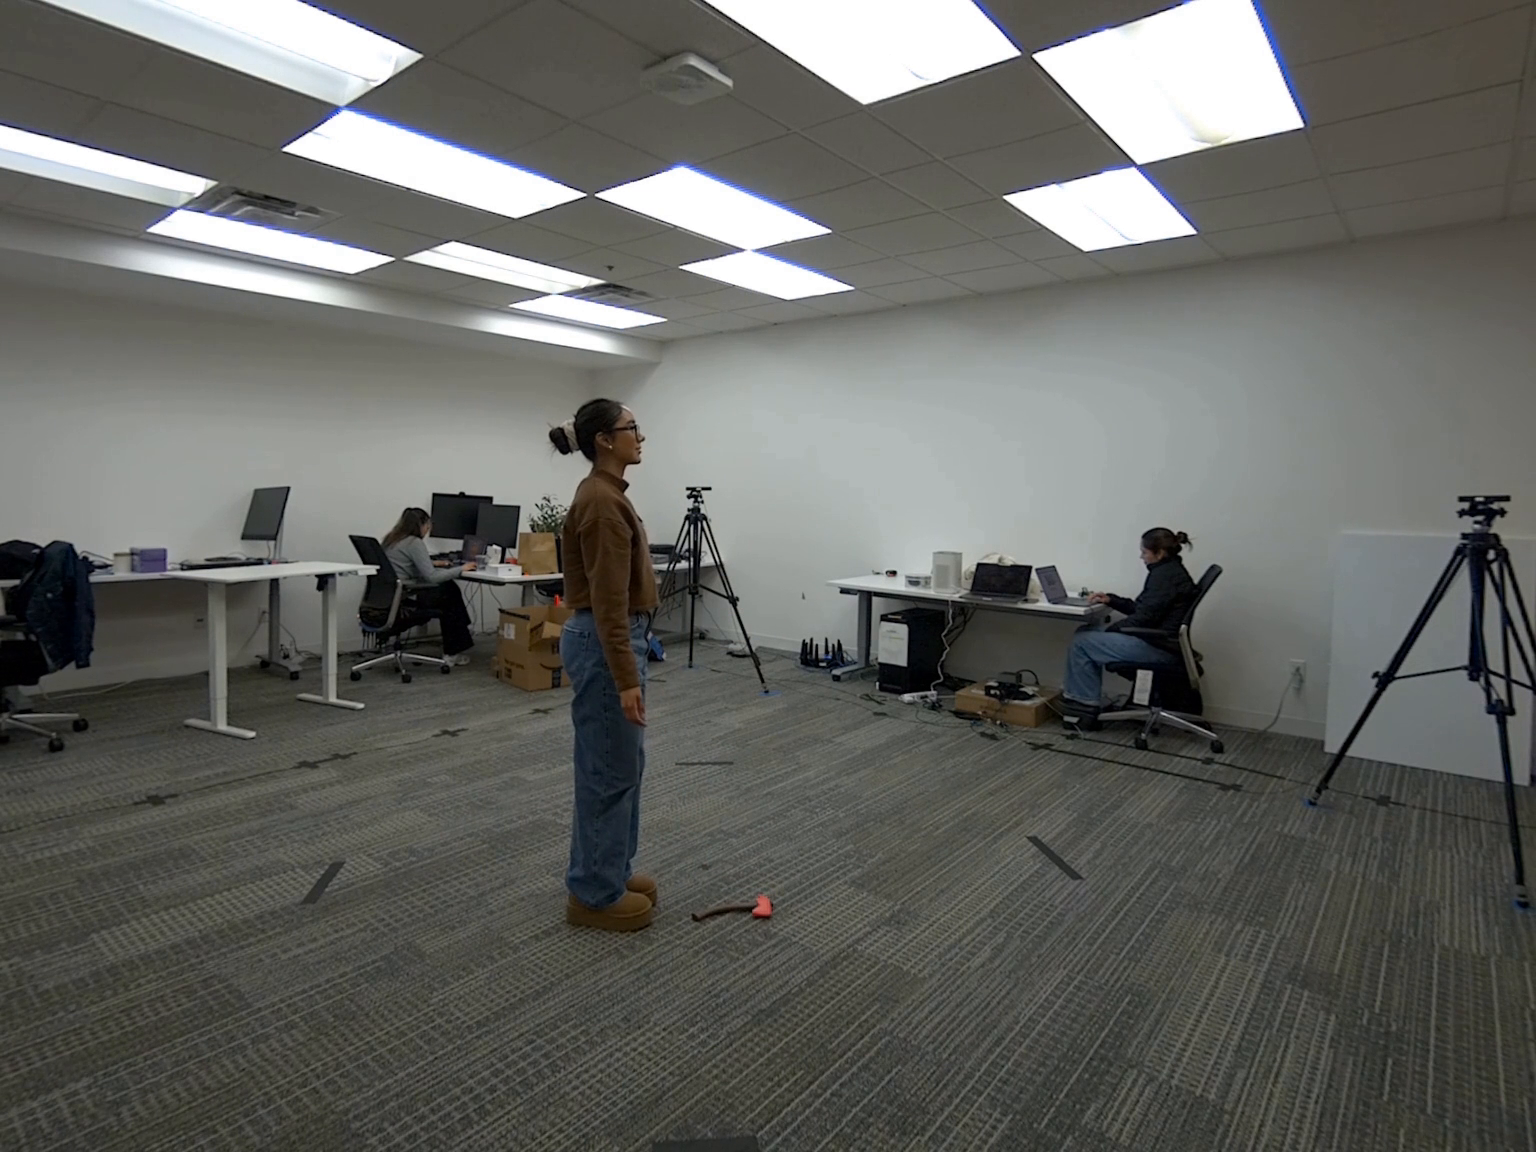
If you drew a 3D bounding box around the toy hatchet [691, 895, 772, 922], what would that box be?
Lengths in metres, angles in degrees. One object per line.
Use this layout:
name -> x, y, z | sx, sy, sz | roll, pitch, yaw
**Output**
toy hatchet -> -0.112, 1.093, 2.751 | 0.263, 0.029, 0.135 | -4, 7, -30
